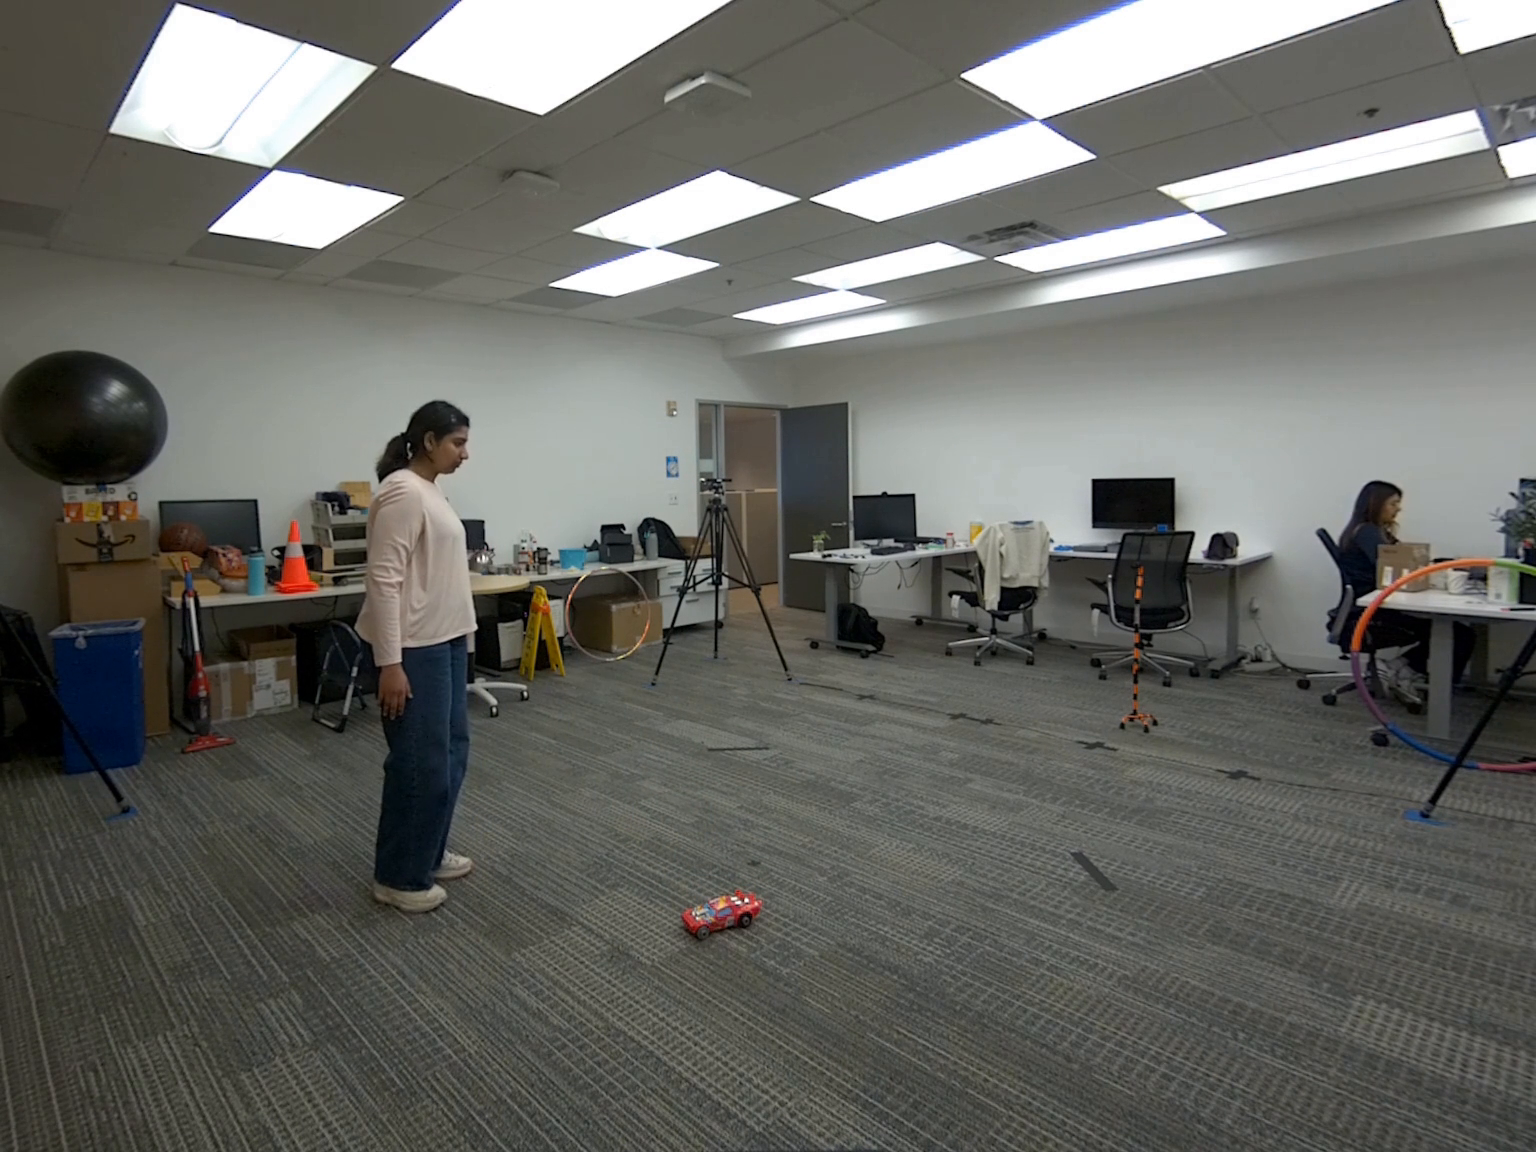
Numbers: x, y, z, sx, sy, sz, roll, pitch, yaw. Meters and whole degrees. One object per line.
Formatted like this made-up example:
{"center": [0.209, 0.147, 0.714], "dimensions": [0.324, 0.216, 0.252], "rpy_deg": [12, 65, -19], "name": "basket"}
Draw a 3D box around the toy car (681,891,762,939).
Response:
{"center": [-0.137, 1.056, 2.678], "dimensions": [0.250, 0.082, 0.134], "rpy_deg": [-16, 12, -25], "name": "toy car"}
